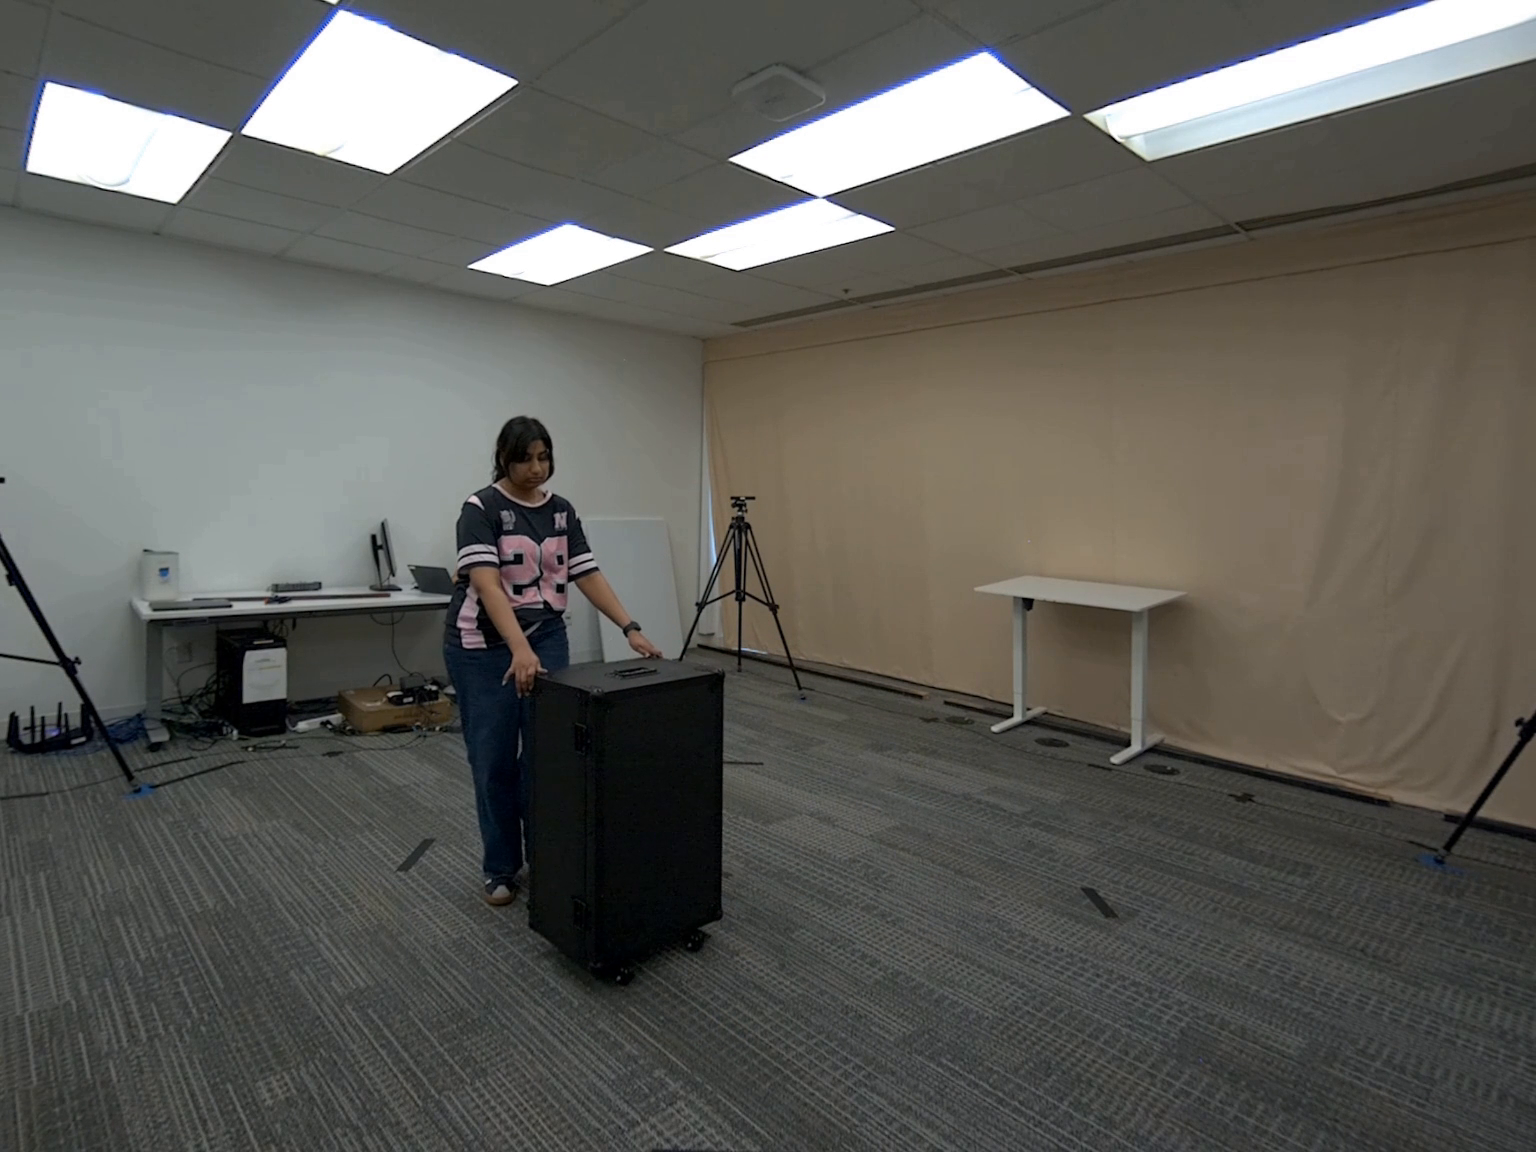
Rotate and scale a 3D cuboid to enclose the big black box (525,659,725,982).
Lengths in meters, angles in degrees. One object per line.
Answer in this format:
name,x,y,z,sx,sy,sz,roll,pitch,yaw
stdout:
big black box,-0.443,0.727,2.580,0.395,0.867,0.511,2,3,44
